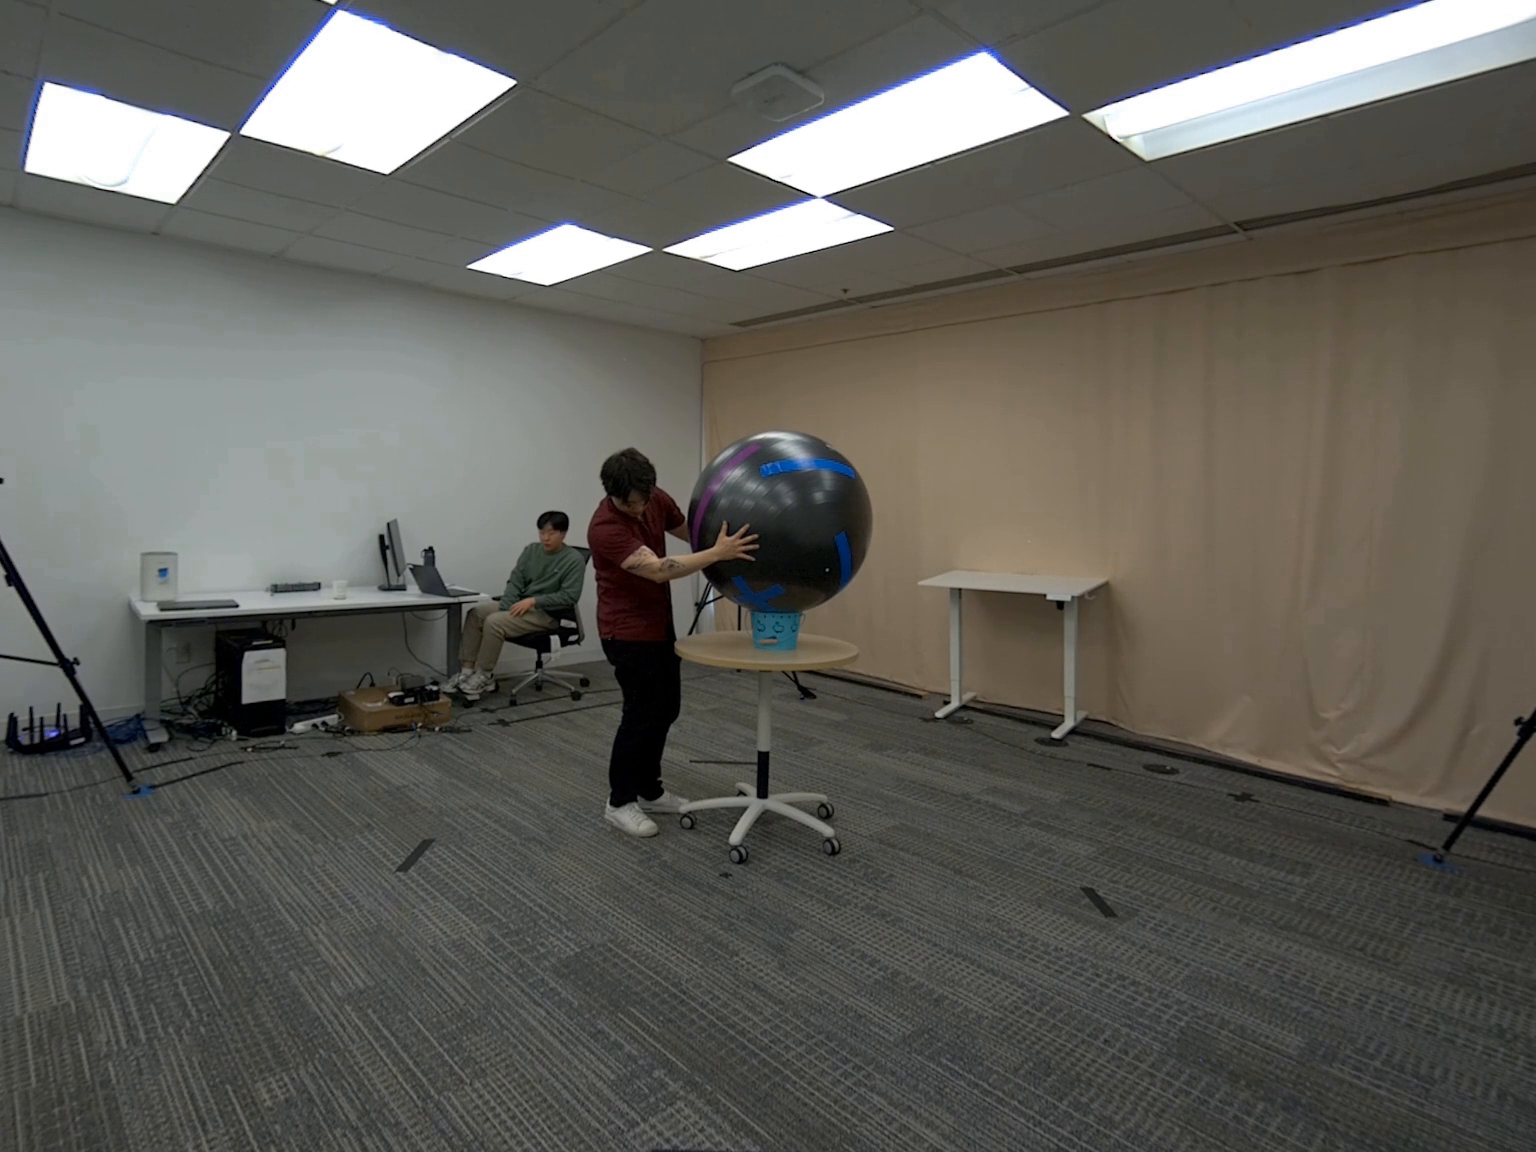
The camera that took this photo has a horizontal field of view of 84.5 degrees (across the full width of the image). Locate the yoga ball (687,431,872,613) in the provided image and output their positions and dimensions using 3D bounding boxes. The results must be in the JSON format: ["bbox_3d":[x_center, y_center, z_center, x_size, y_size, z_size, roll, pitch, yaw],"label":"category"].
[{"bbox_3d":[0.041,-0.218,3.476,0.757,0.756,0.761,1,4,-1],"label":"yoga ball"}]
